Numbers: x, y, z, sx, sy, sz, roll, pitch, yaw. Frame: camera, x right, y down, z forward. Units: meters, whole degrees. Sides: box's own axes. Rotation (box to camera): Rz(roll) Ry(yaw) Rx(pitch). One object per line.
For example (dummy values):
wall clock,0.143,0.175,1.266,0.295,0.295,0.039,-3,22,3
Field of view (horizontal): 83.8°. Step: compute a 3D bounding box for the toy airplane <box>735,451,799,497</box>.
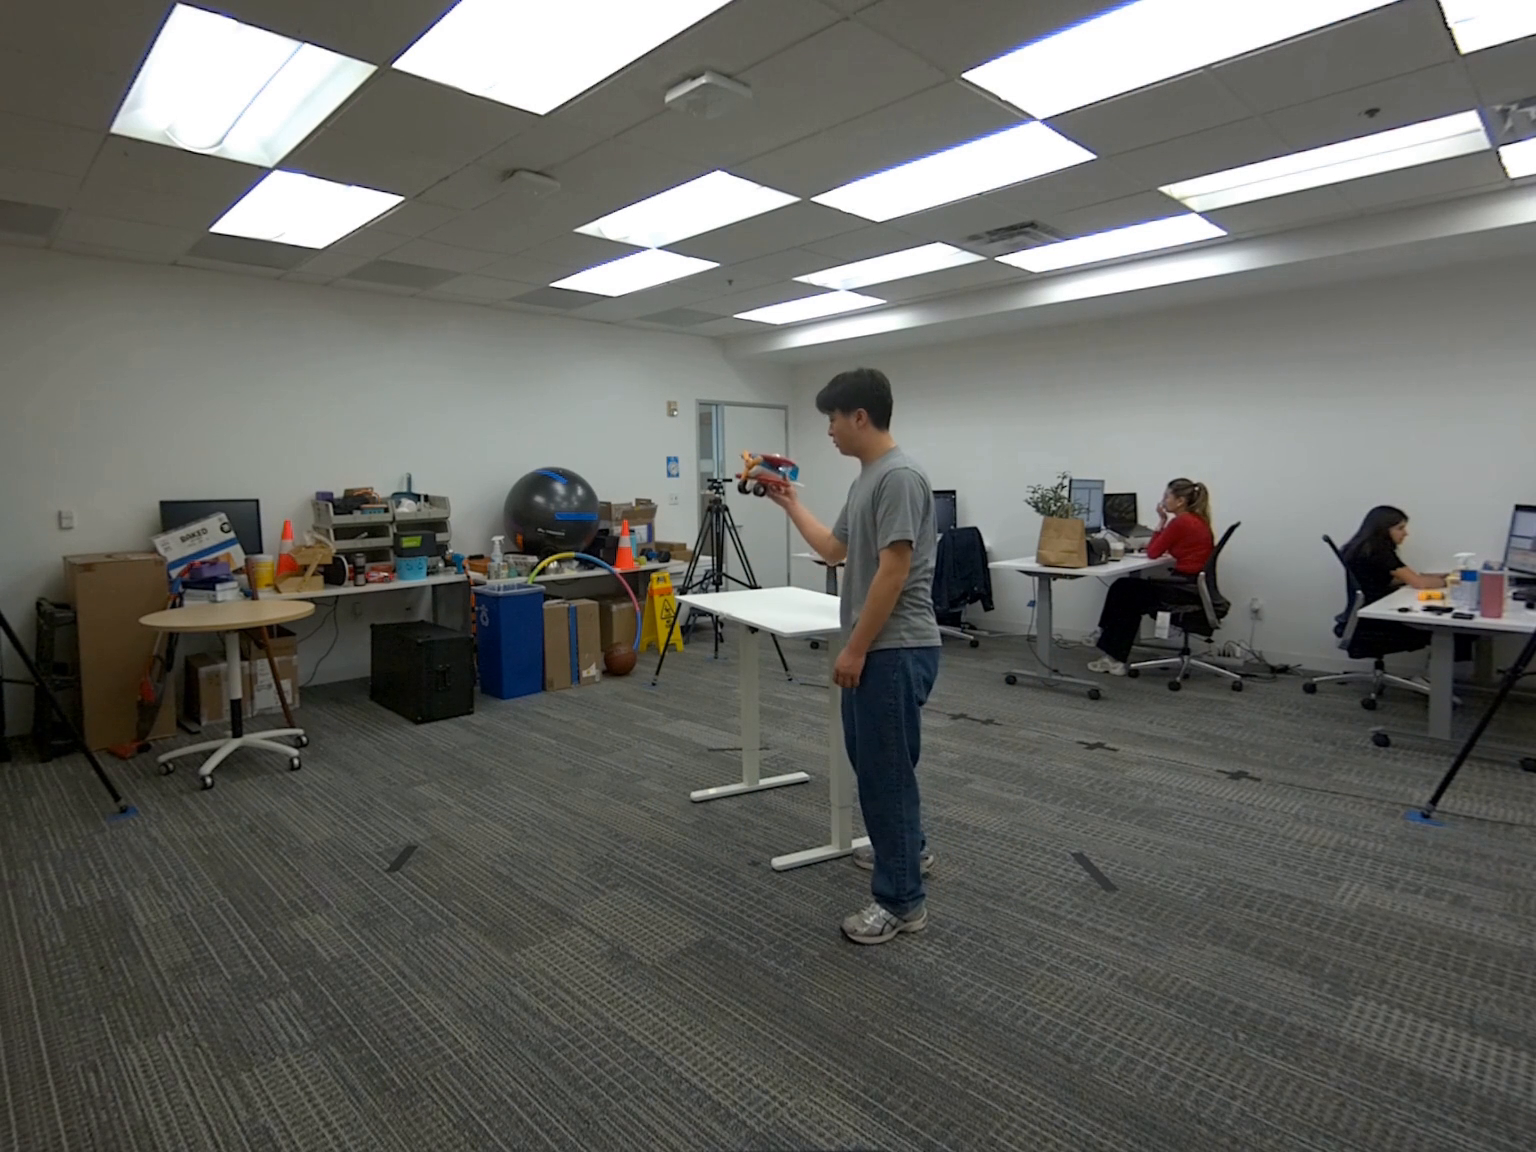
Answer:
toy airplane,0.005,-0.369,3.174,0.257,0.156,0.255,10,7,21
